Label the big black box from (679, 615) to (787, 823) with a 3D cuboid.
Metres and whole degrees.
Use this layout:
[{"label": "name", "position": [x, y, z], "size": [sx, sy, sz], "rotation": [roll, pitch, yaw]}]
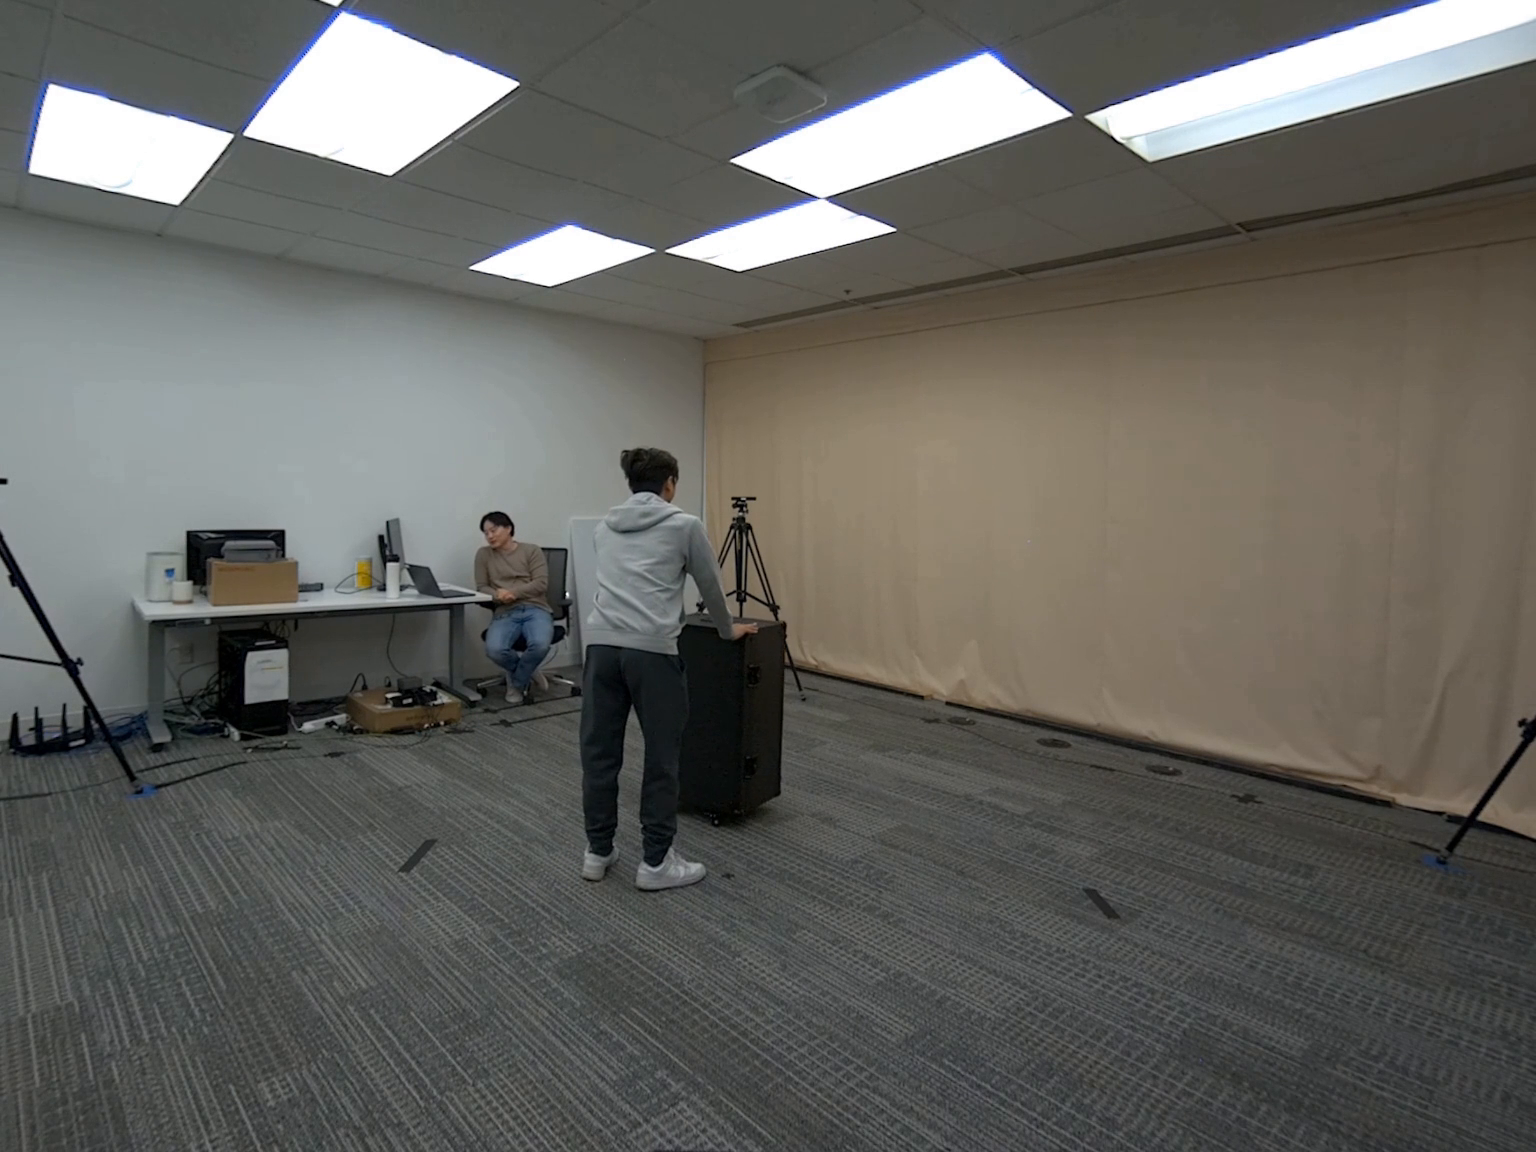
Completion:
[{"label": "big black box", "position": [-0.225, 0.621, 3.766], "size": [0.533, 0.860, 0.388], "rotation": [4, 2, 33]}]
